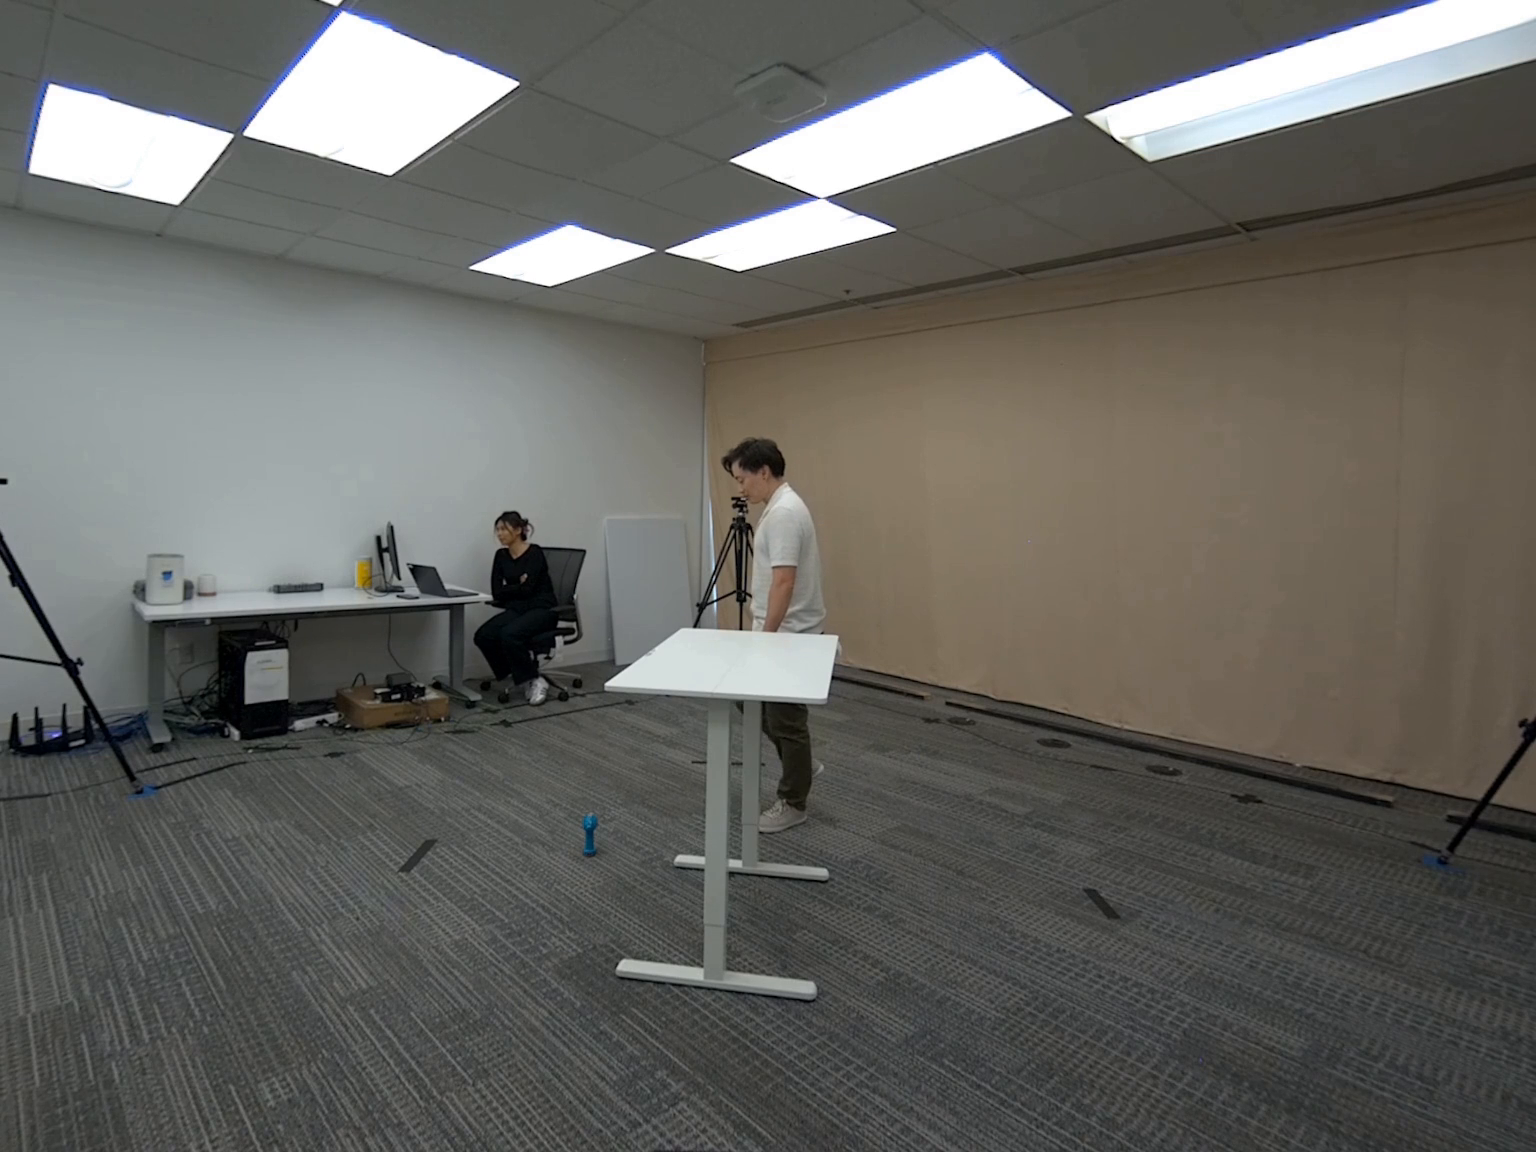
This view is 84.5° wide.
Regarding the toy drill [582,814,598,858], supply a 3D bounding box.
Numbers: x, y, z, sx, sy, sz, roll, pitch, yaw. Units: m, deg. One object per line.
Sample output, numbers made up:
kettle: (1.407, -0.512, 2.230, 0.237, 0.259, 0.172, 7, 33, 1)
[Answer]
toy drill: (-0.706, 1.004, 3.306, 0.061, 0.145, 0.171, 2, 5, -8)
